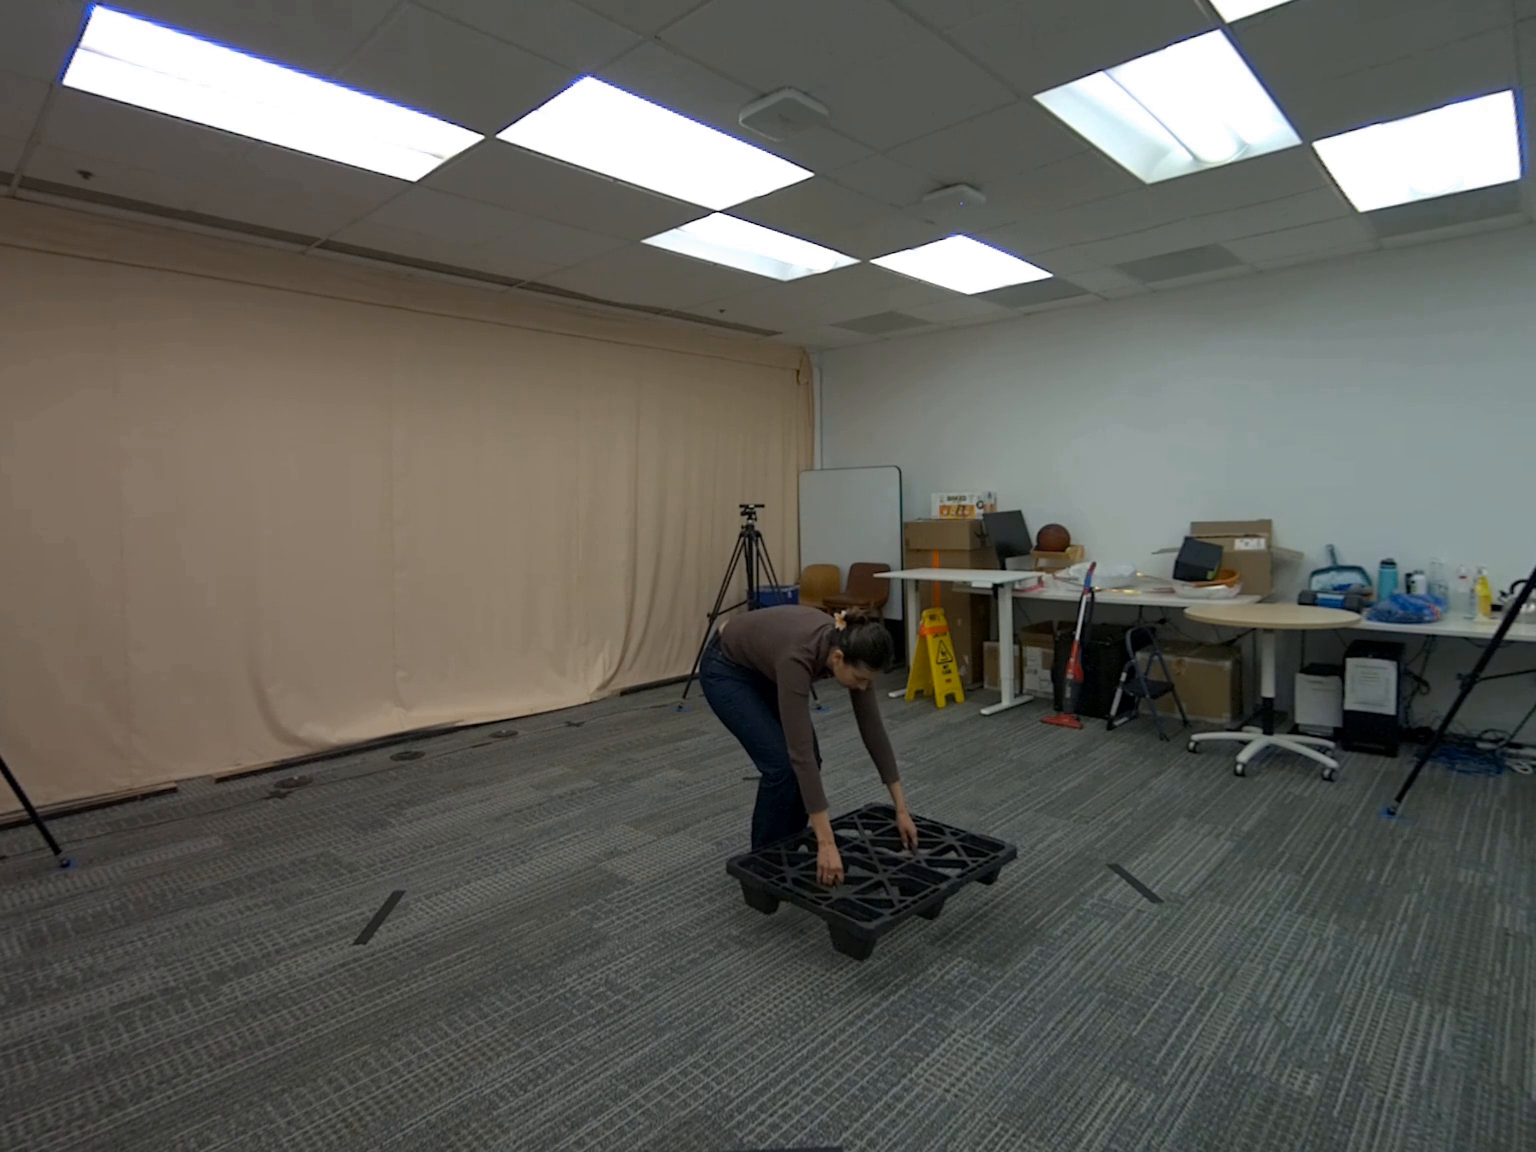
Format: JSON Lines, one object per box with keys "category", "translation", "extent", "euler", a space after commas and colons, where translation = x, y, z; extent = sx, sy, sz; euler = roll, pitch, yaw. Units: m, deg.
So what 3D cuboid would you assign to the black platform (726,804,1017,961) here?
{"category": "black platform", "translation": [0.350, 0.988, 2.780], "extent": [0.781, 0.143, 0.625], "euler": [-5, 6, -43]}
